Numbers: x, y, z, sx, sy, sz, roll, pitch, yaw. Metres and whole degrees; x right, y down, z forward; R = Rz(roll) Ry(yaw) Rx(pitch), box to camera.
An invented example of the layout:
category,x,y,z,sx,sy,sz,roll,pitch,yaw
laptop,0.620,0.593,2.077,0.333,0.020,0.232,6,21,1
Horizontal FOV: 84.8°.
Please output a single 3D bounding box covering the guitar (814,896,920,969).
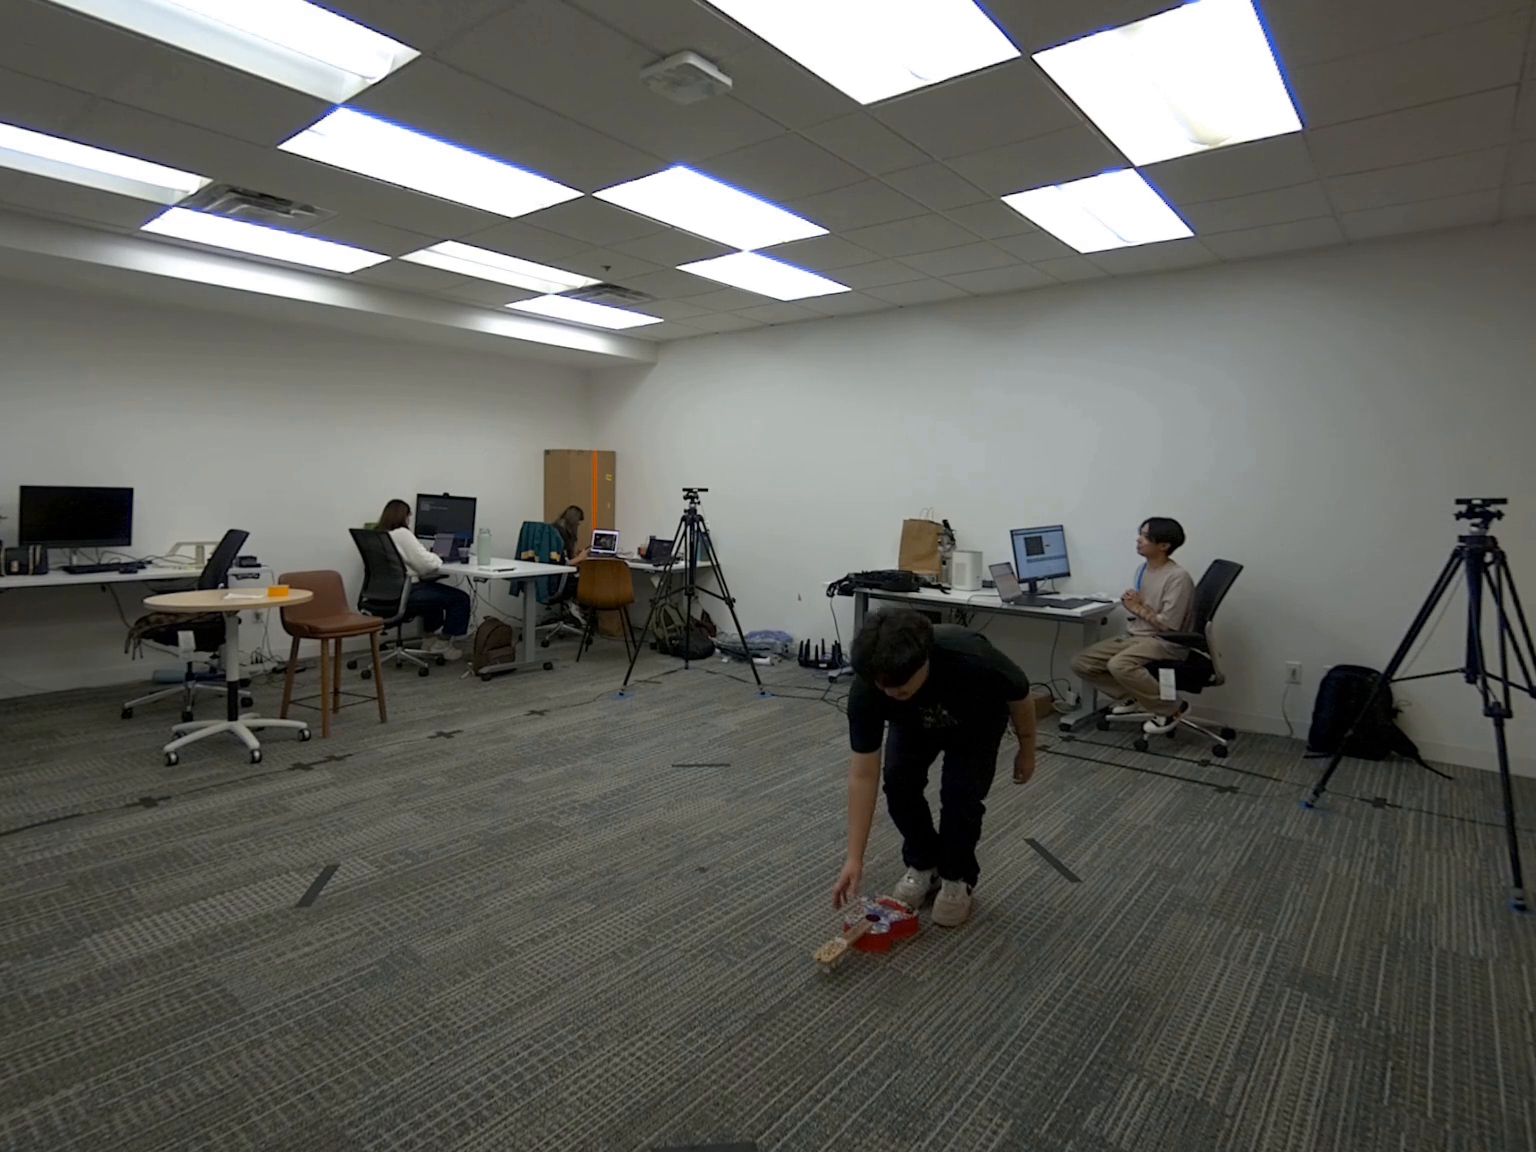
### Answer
category,x,y,z,sx,sy,sz,roll,pitch,yaw
guitar,0.267,1.089,2.632,0.483,0.070,0.200,-4,8,-44
